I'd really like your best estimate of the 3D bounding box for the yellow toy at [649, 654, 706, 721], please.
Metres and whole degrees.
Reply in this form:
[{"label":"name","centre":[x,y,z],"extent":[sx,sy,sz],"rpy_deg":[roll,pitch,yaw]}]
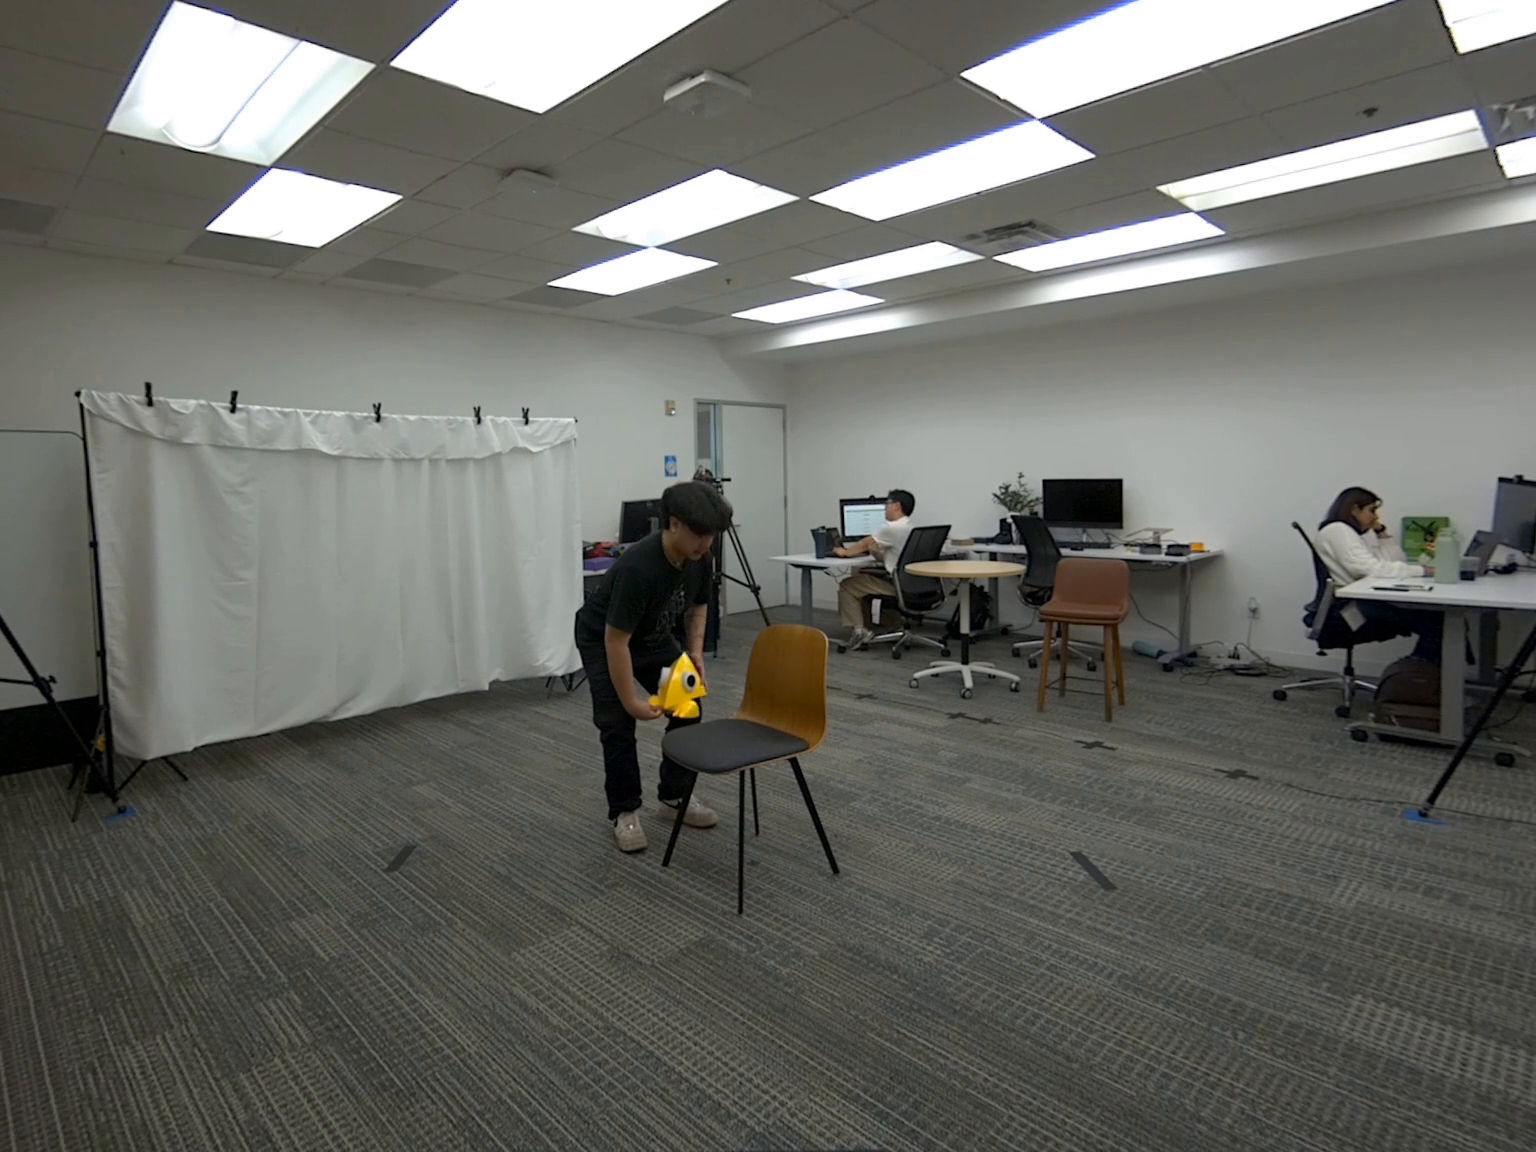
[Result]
[{"label":"yellow toy","centre":[-0.357,0.412,3.290],"extent":[0.209,0.231,0.189],"rpy_deg":[7,-3,18]}]
